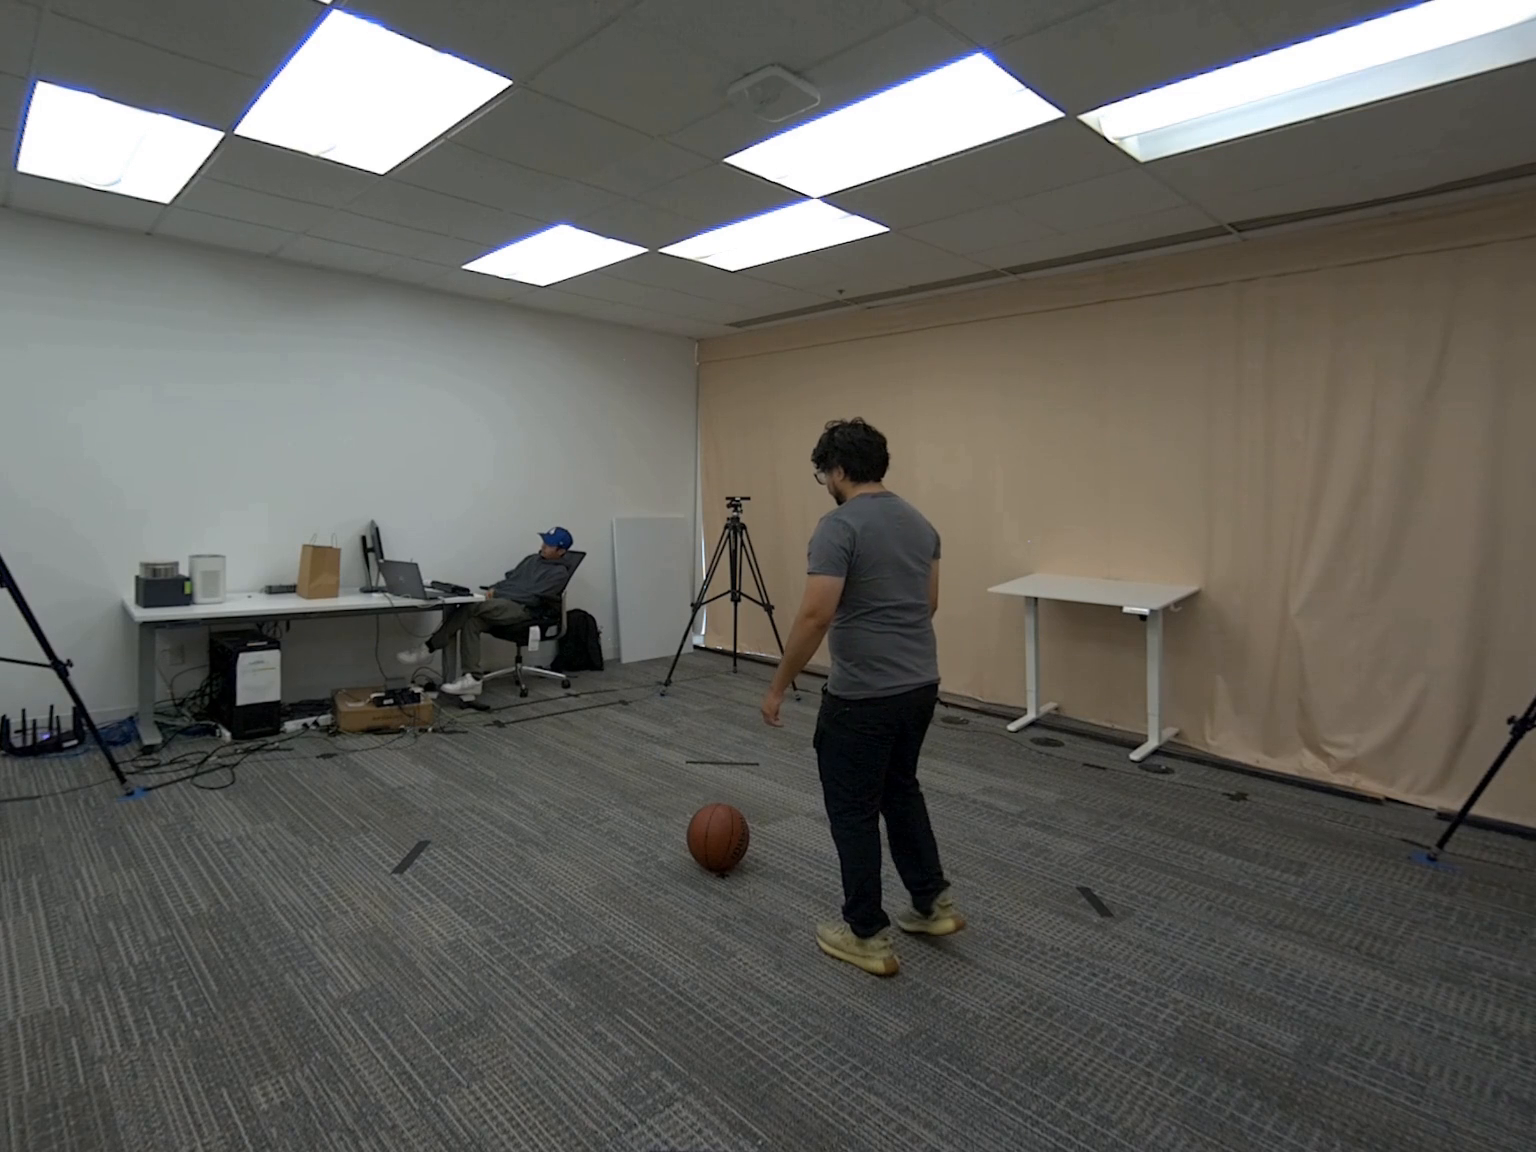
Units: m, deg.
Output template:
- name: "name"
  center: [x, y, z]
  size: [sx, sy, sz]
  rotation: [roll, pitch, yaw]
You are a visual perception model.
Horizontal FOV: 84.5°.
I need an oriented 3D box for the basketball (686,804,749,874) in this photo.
- name: "basketball"
  center: [-0.190, 0.977, 3.165]
  size: [0.236, 0.235, 0.237]
  rotation: [1, 4, -1]
